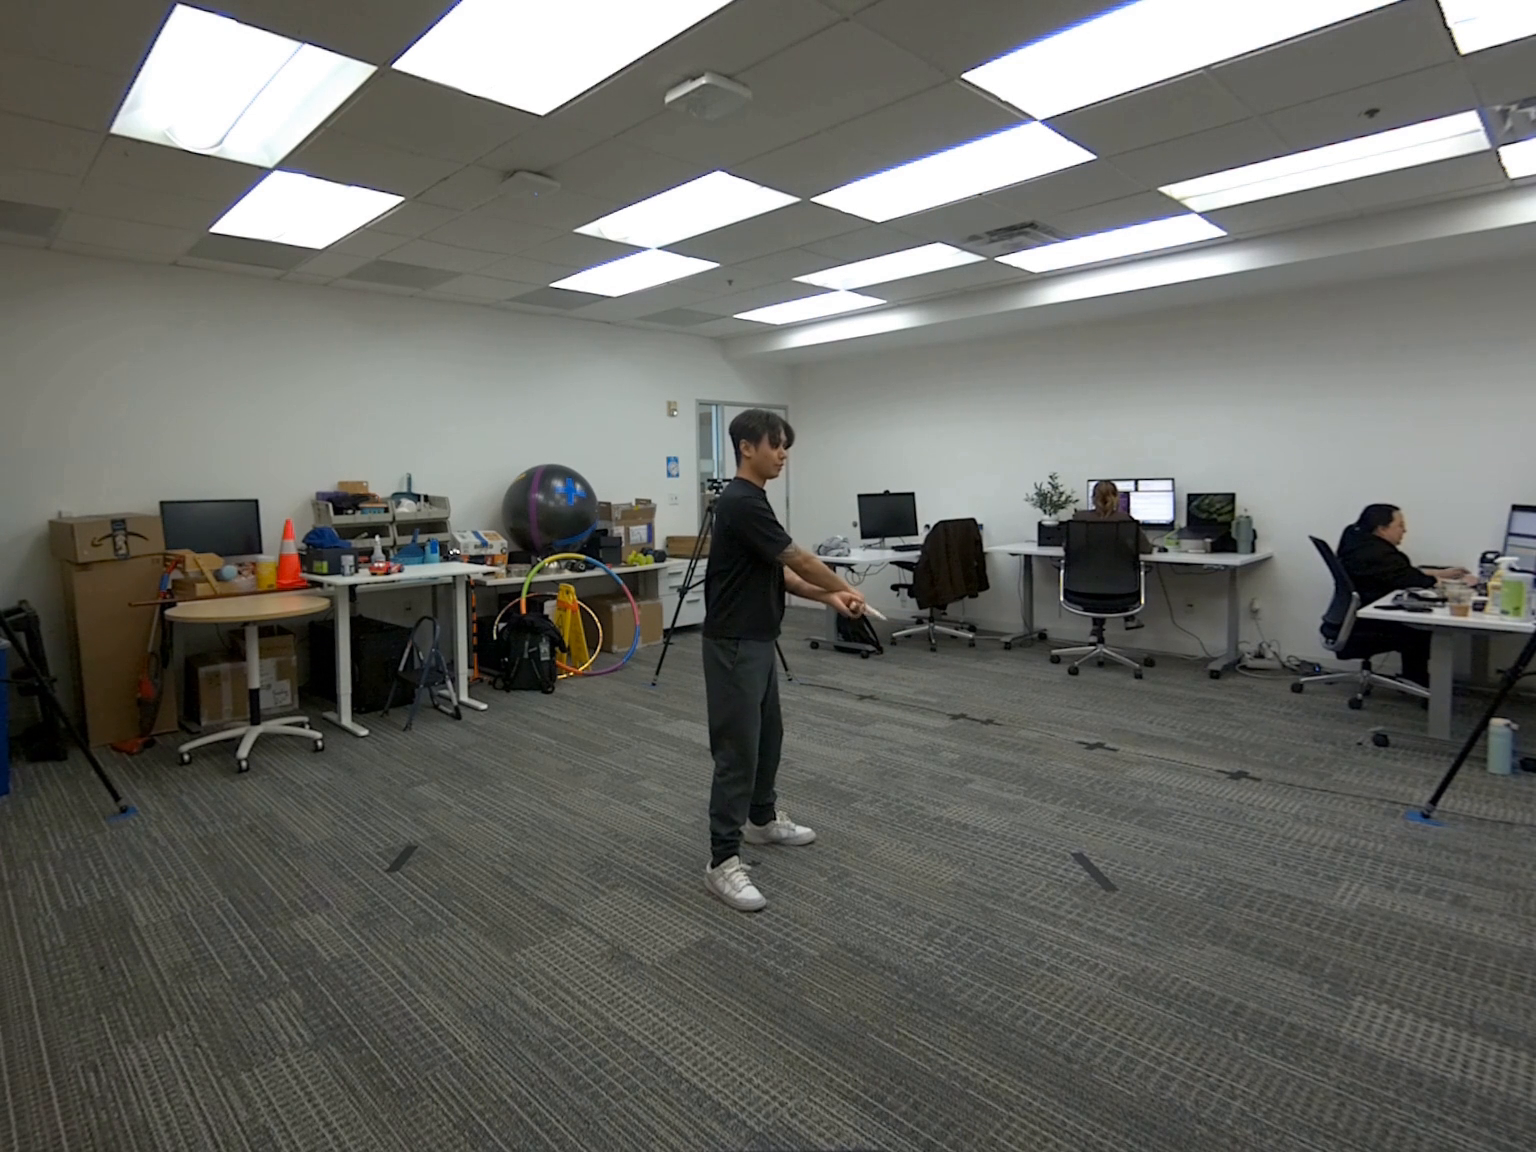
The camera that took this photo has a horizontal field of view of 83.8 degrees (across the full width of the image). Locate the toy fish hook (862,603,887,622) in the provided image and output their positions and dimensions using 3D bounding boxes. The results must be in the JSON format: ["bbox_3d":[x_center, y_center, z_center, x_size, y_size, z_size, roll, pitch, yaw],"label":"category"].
[{"bbox_3d":[0.363,0.121,3.204,0.224,0.048,0.507,24,4,-2],"label":"toy fish hook"}]
